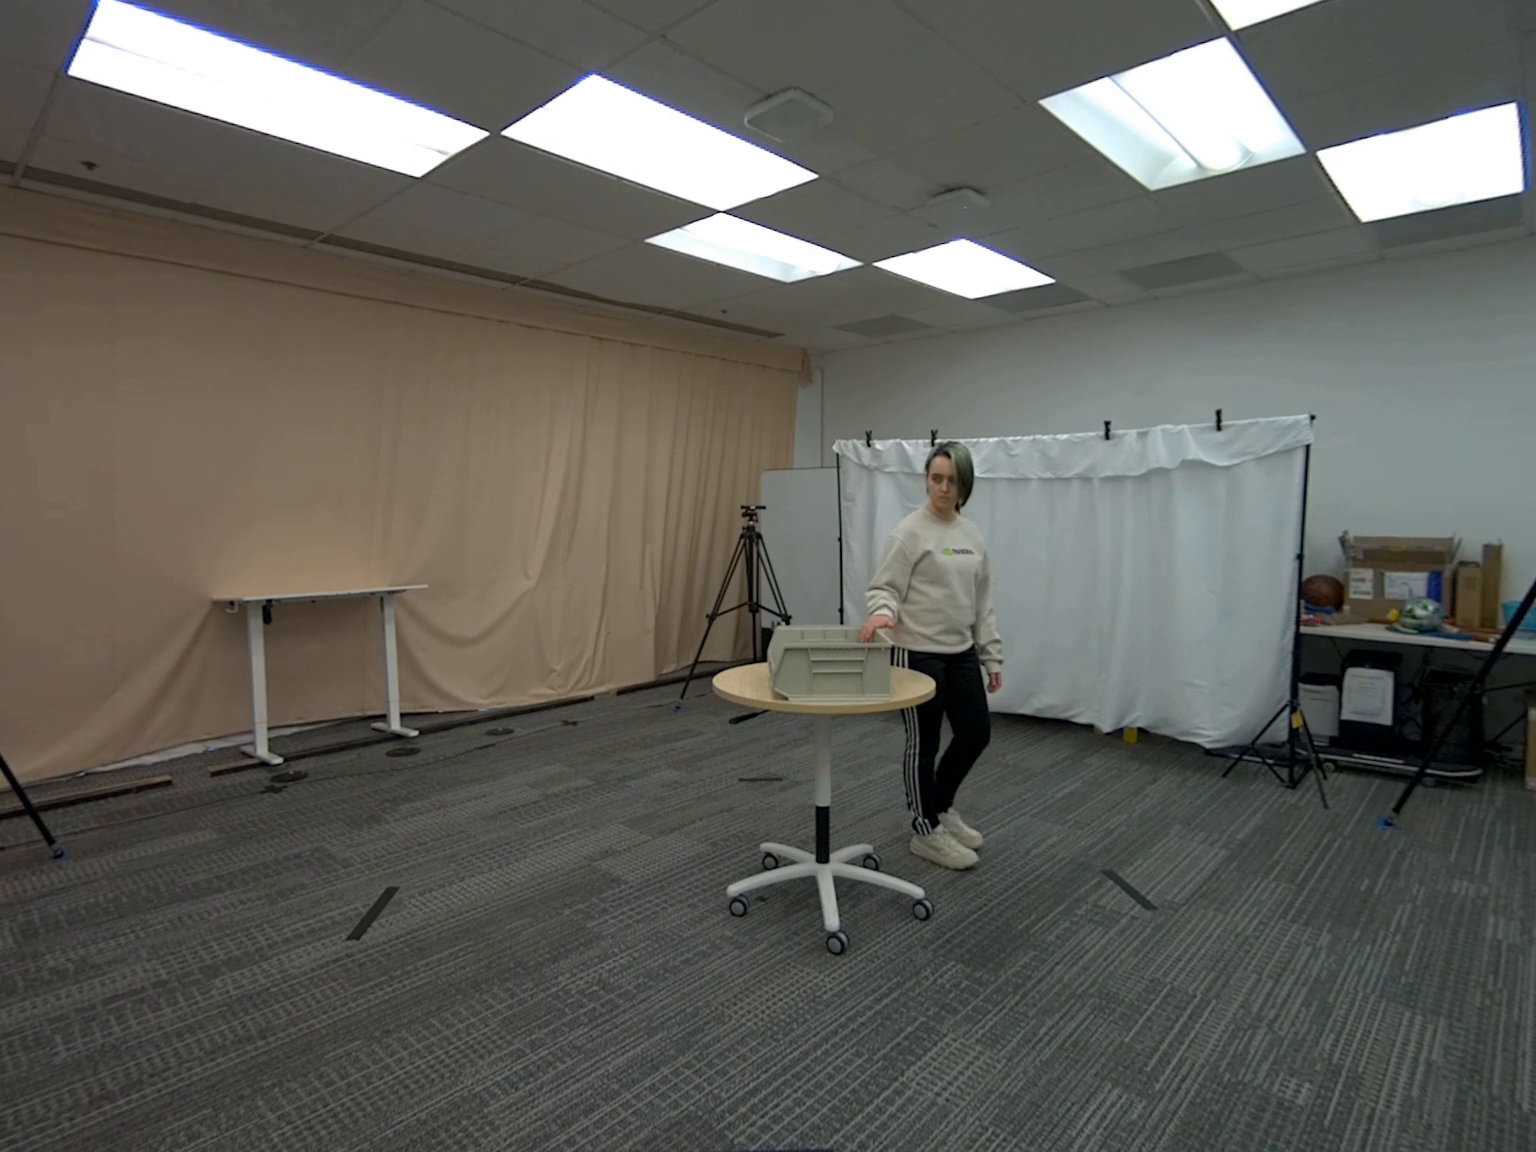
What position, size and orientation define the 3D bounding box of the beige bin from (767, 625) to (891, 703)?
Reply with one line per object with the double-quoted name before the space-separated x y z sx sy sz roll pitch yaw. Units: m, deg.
"beige bin" 0.198 0.281 2.797 0.378 0.188 0.422 2 4 0
